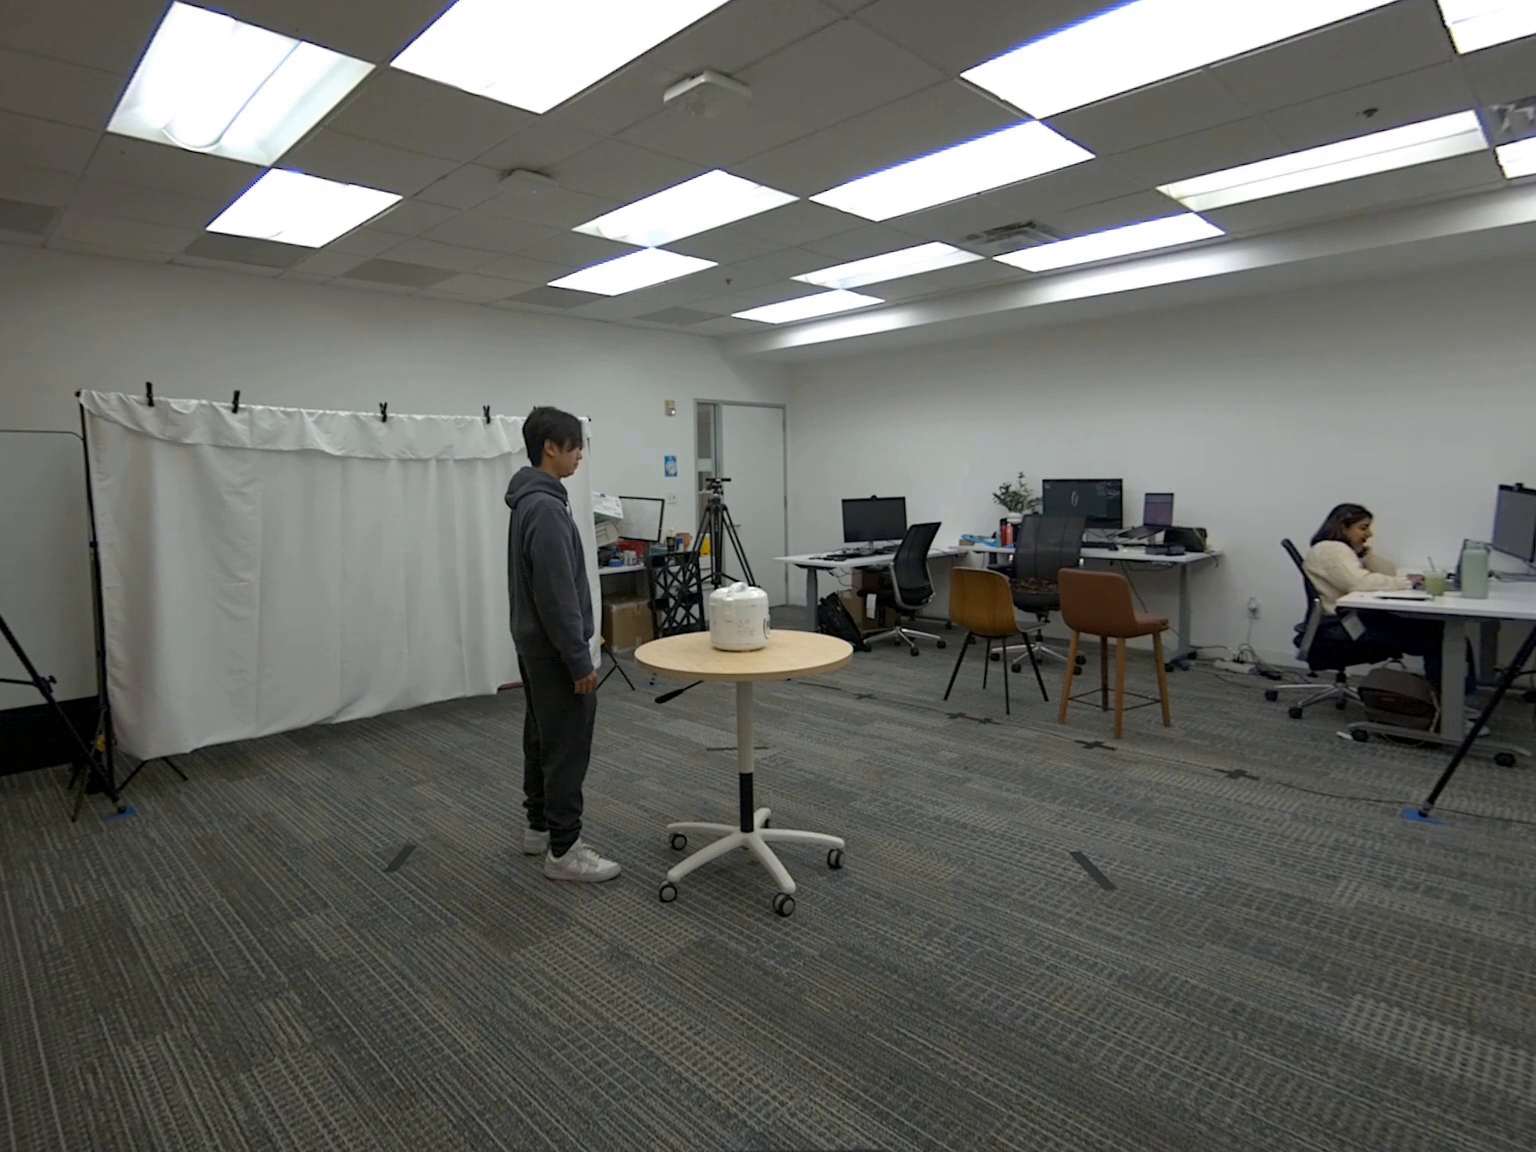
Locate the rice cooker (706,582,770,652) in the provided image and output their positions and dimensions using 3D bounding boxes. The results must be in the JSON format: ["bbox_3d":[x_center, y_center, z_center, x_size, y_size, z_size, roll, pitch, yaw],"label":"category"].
[{"bbox_3d":[-0.102,0.135,3.029,0.222,0.232,0.217,0,5,21],"label":"rice cooker"}]
